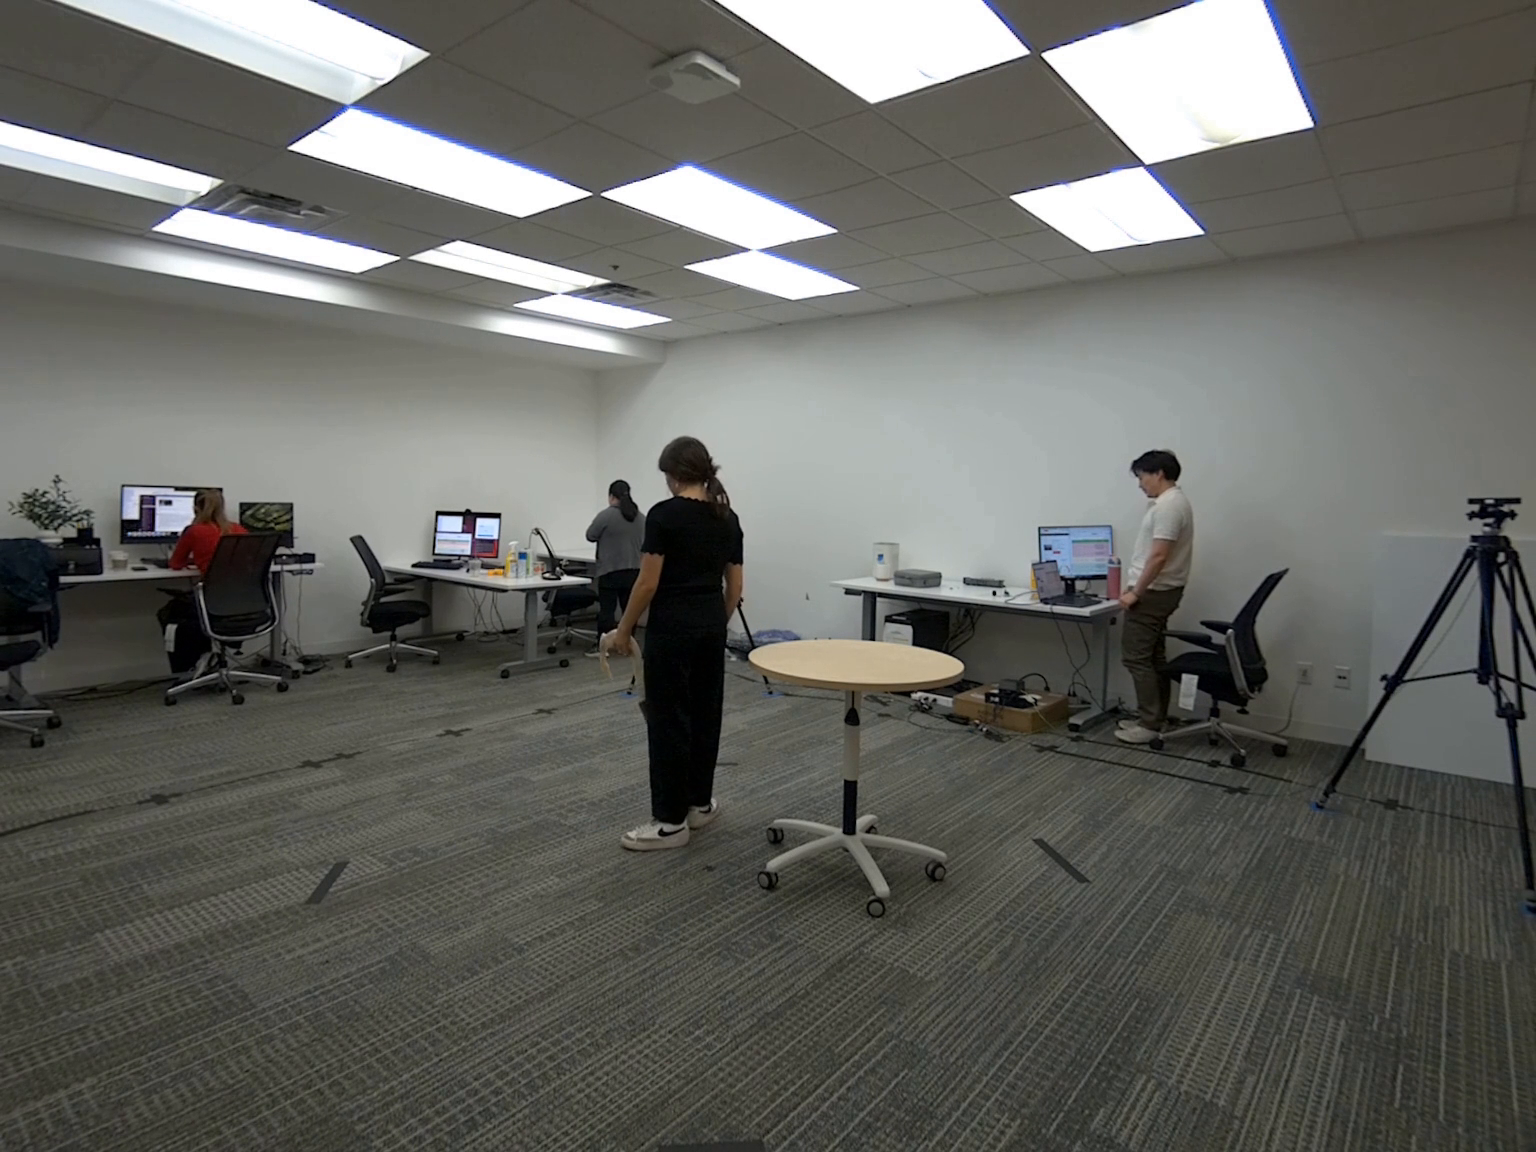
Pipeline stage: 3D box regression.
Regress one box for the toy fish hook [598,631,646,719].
[{"bbox_3d":[-0.568,0.462,3.467,0.229,0.508,0.047,-21,-2,36],"label":"toy fish hook"}]
